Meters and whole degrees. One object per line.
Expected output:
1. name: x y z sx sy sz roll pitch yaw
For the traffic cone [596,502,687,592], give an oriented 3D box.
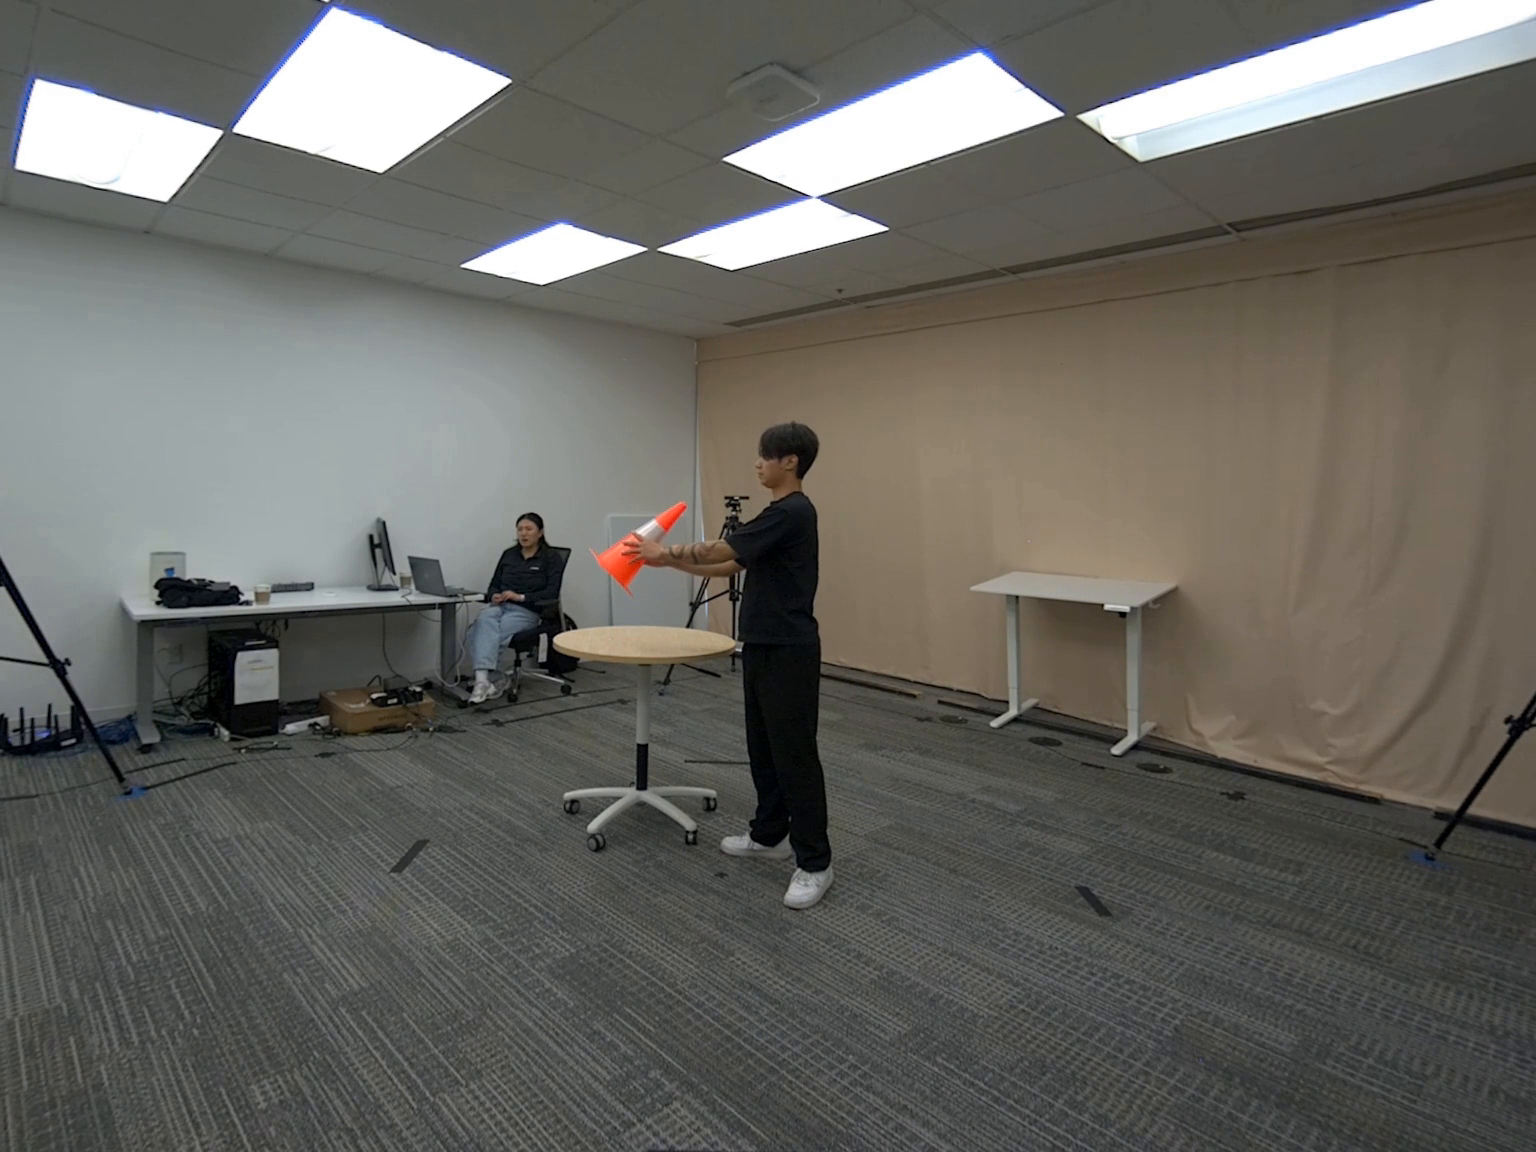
1. traffic cone: -0.458 -0.141 3.199 0.199 0.383 0.209 50 -2 -35
